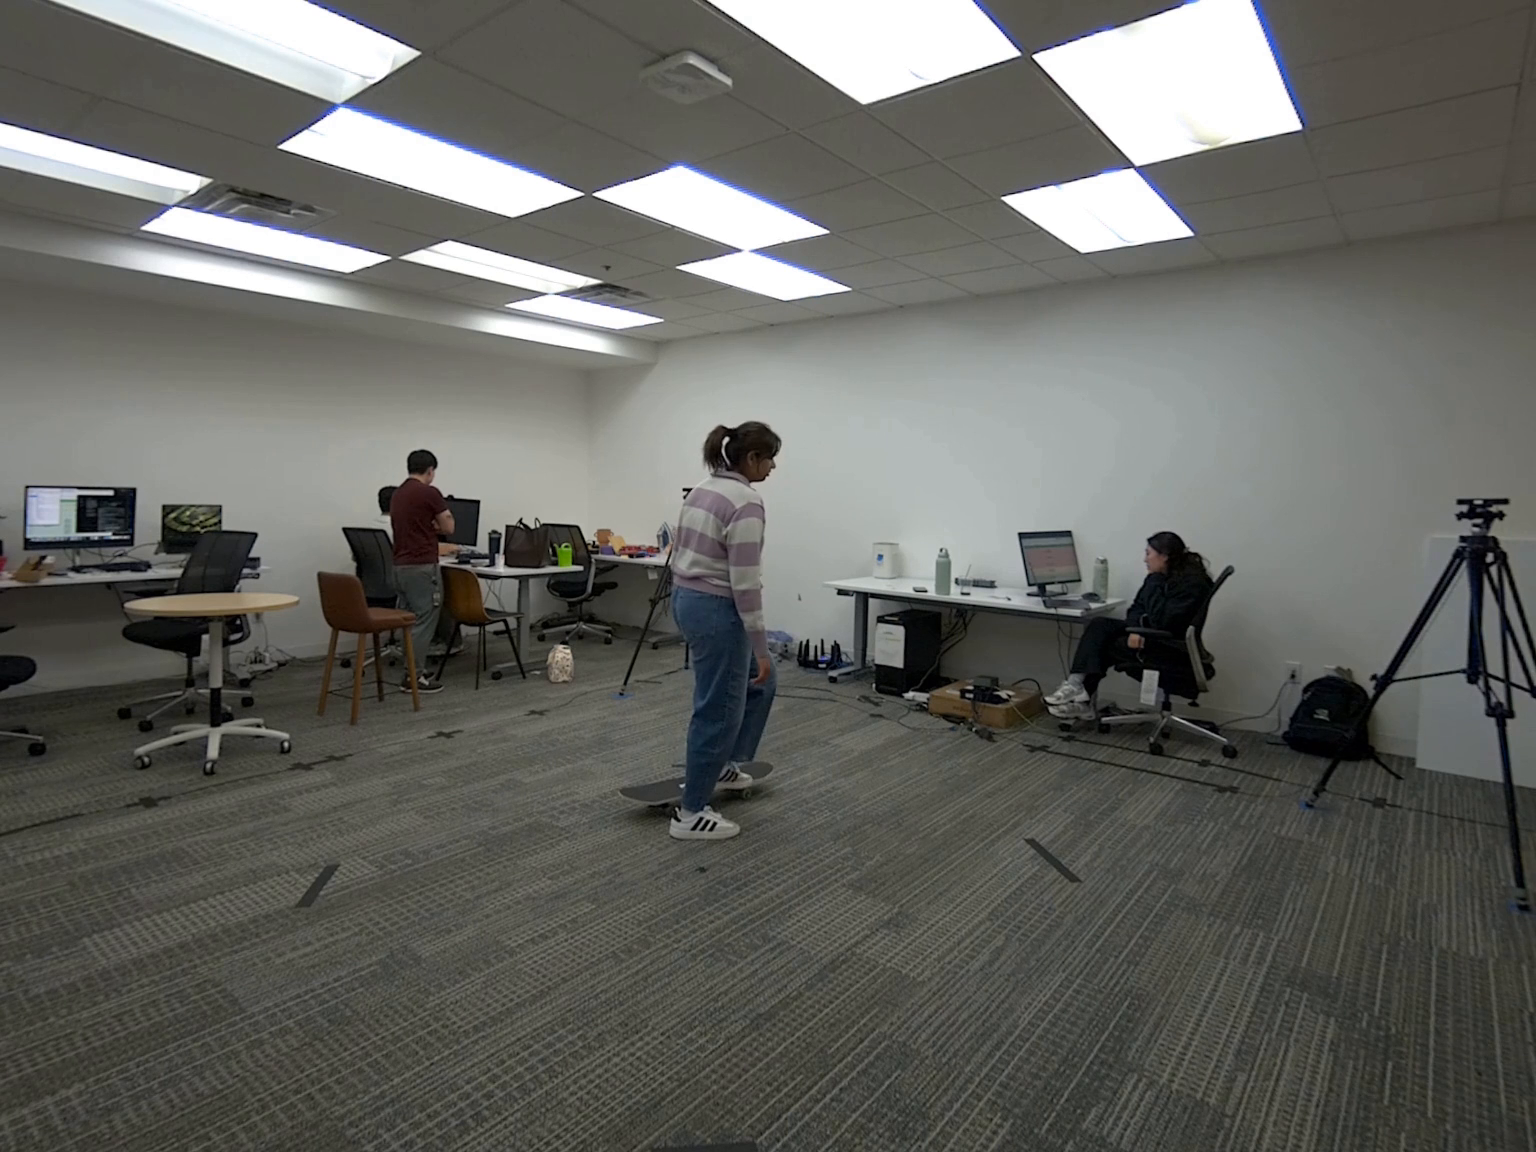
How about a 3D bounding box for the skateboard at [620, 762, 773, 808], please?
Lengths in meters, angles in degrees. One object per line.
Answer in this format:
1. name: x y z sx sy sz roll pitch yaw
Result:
1. skateboard: -0.311 0.944 3.773 0.763 0.110 0.200 -3 8 -35
